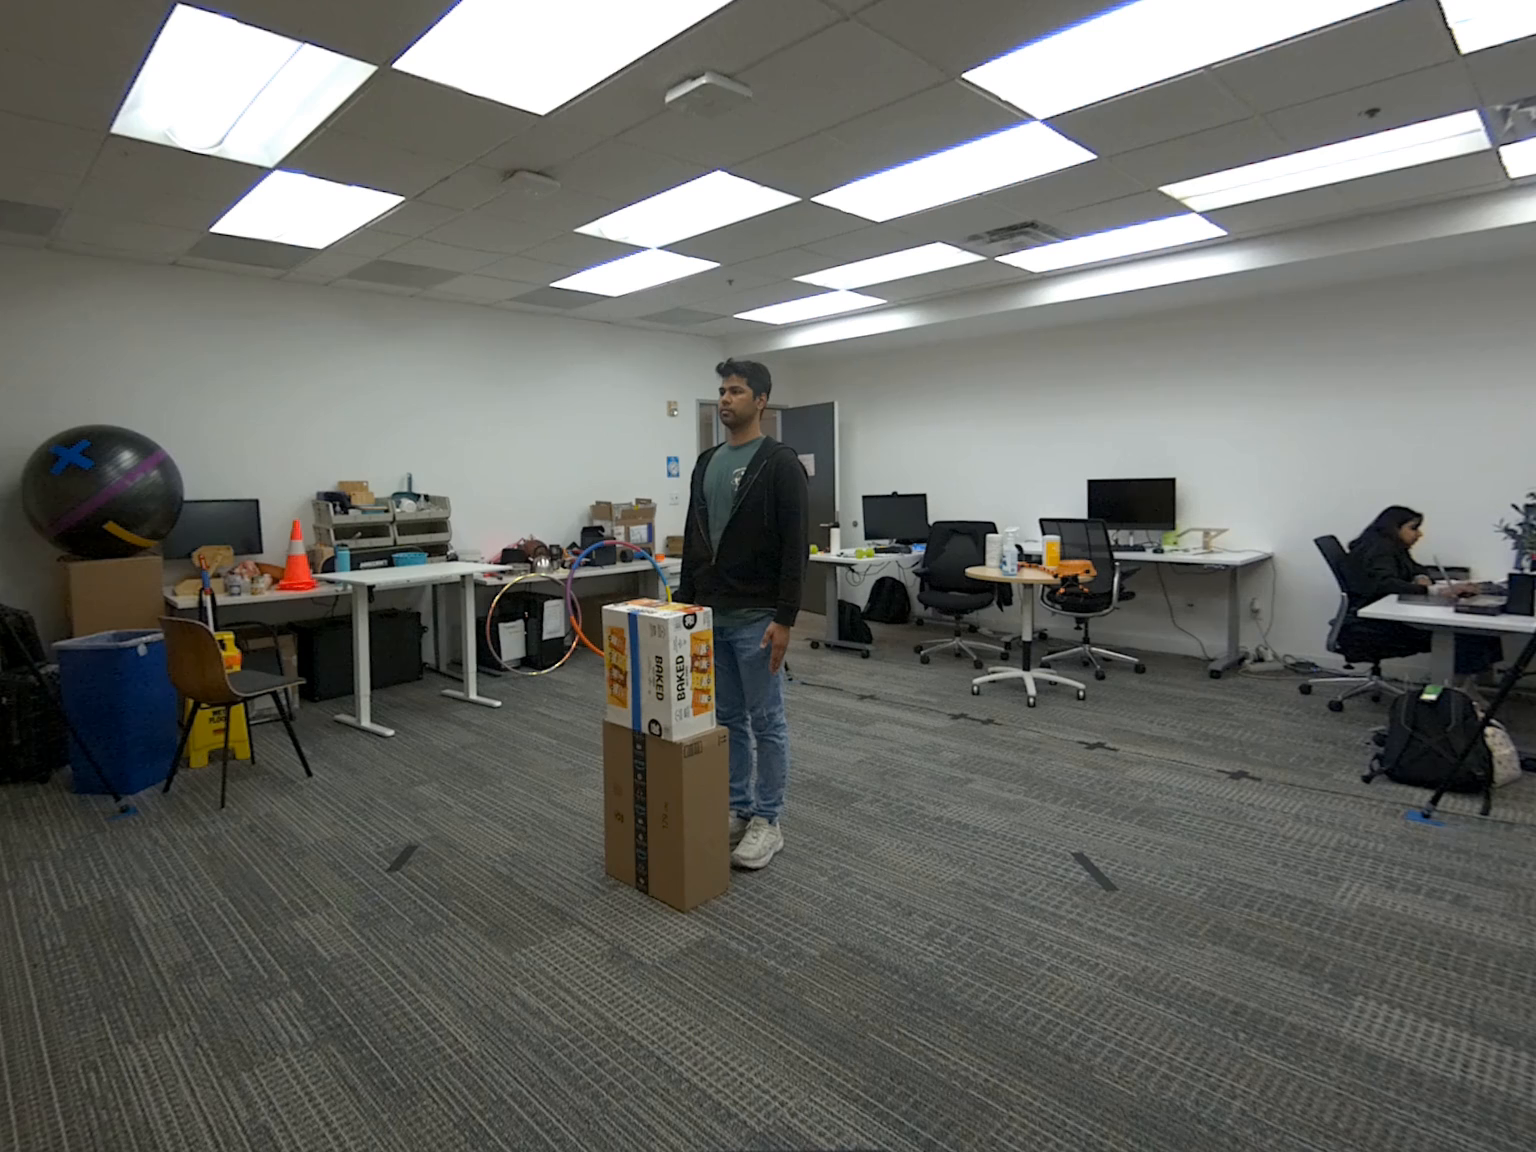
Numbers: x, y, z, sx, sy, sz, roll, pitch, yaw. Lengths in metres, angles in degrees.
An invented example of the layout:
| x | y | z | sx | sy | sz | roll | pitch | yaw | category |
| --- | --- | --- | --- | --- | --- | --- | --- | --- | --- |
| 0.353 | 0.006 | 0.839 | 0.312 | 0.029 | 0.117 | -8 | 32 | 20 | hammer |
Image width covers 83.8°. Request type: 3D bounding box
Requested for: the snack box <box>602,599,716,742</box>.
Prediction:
| x | y | z | sx | sy | sz | roll | pitch | yaw | category |
| --- | --- | --- | --- | --- | --- | --- | --- | --- | --- |
| -0.364 | 0.303 | 2.902 | 0.351 | 0.403 | 0.200 | 4 | 8 | 44 | snack box |
